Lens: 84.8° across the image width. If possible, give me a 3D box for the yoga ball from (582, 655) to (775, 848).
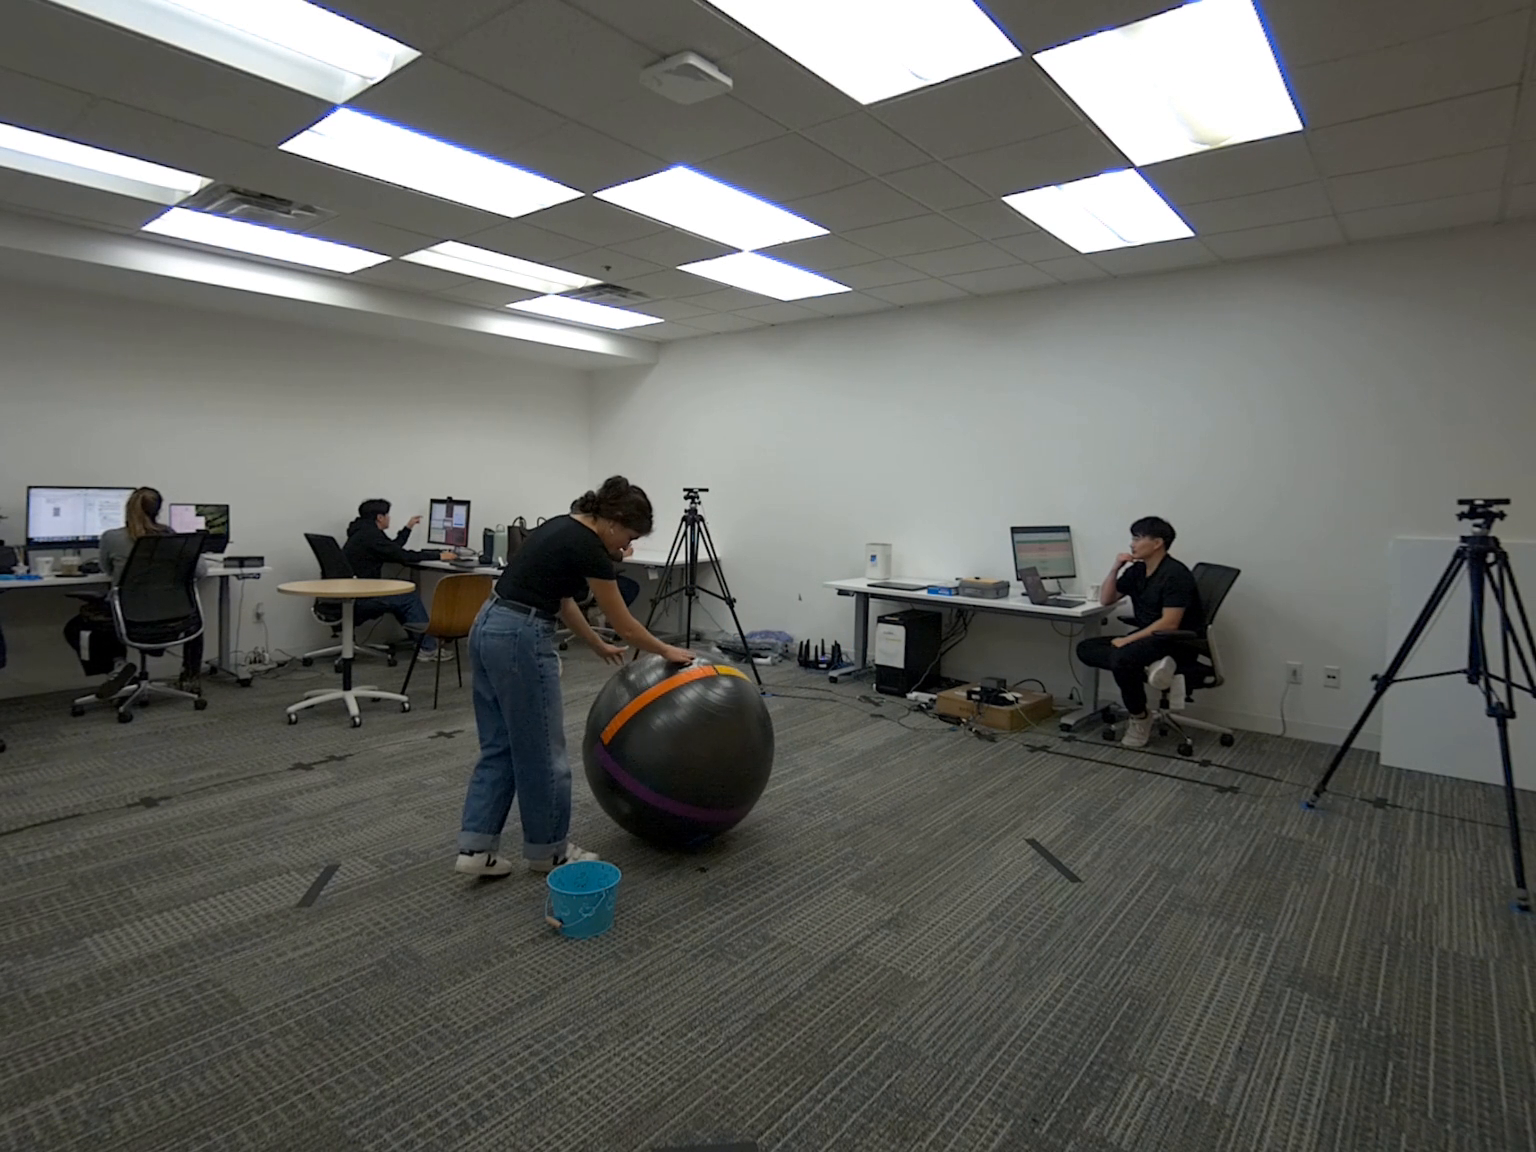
[{"bbox_3d":[-0.366,0.671,3.380,0.757,0.756,0.762,1,4,-2],"label":"yoga ball"}]
